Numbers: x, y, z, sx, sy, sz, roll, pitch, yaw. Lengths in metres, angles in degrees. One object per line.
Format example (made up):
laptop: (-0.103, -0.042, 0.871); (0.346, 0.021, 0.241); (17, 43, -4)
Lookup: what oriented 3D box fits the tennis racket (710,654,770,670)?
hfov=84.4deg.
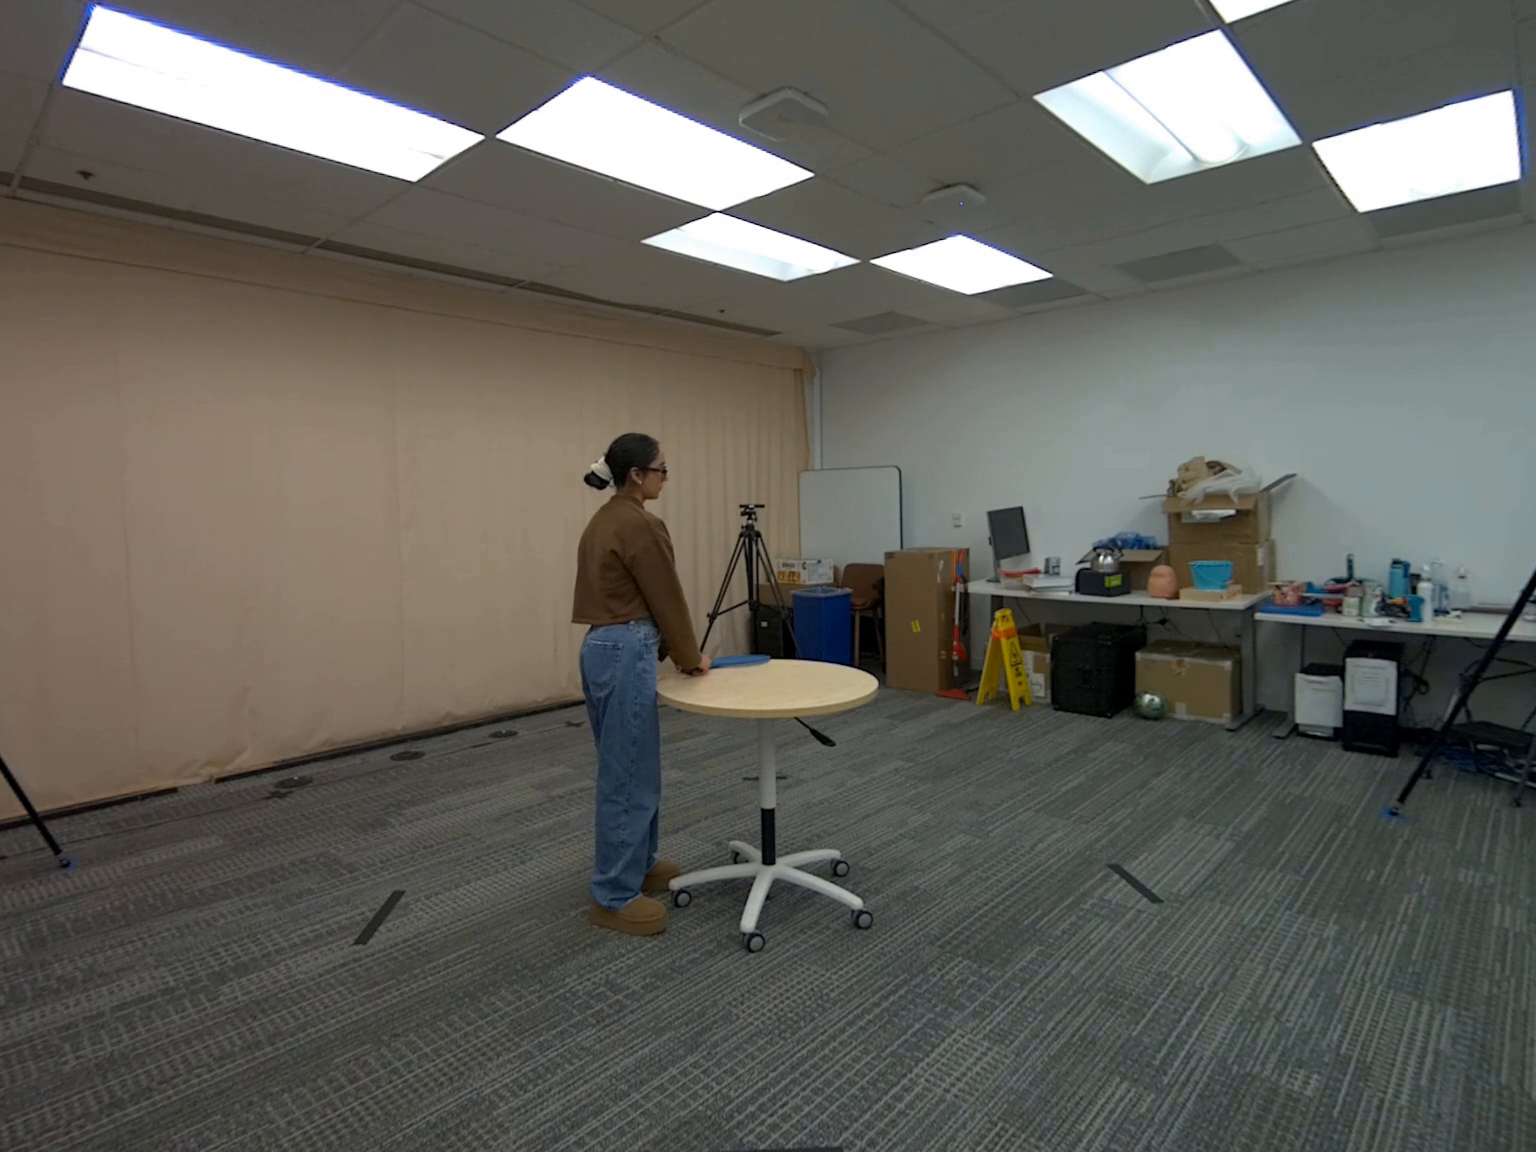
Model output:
tennis racket: (-0.164, 0.337, 3.205); (0.420, 0.032, 0.220); (-5, 3, -40)
